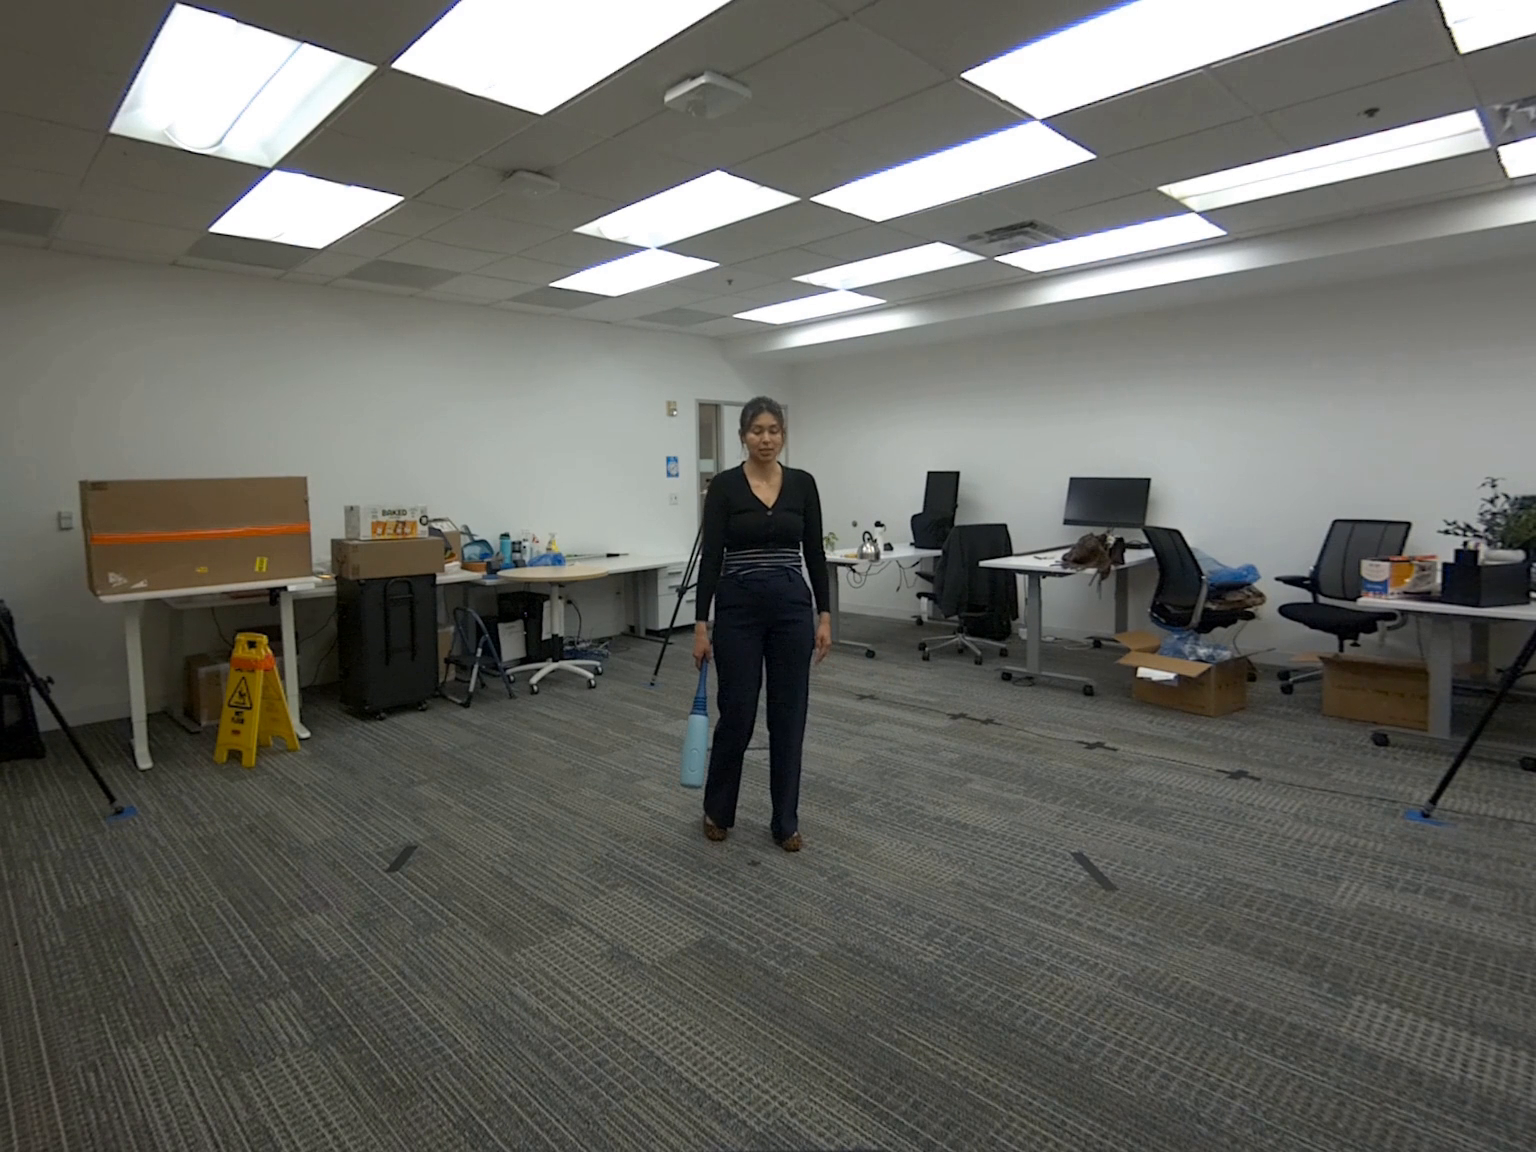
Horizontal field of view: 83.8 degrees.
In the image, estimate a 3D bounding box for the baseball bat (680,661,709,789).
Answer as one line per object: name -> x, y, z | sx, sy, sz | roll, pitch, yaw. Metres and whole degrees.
baseball bat -> -0.249, 0.494, 3.091 | 0.089, 0.552, 0.087 | 4, -22, 0
